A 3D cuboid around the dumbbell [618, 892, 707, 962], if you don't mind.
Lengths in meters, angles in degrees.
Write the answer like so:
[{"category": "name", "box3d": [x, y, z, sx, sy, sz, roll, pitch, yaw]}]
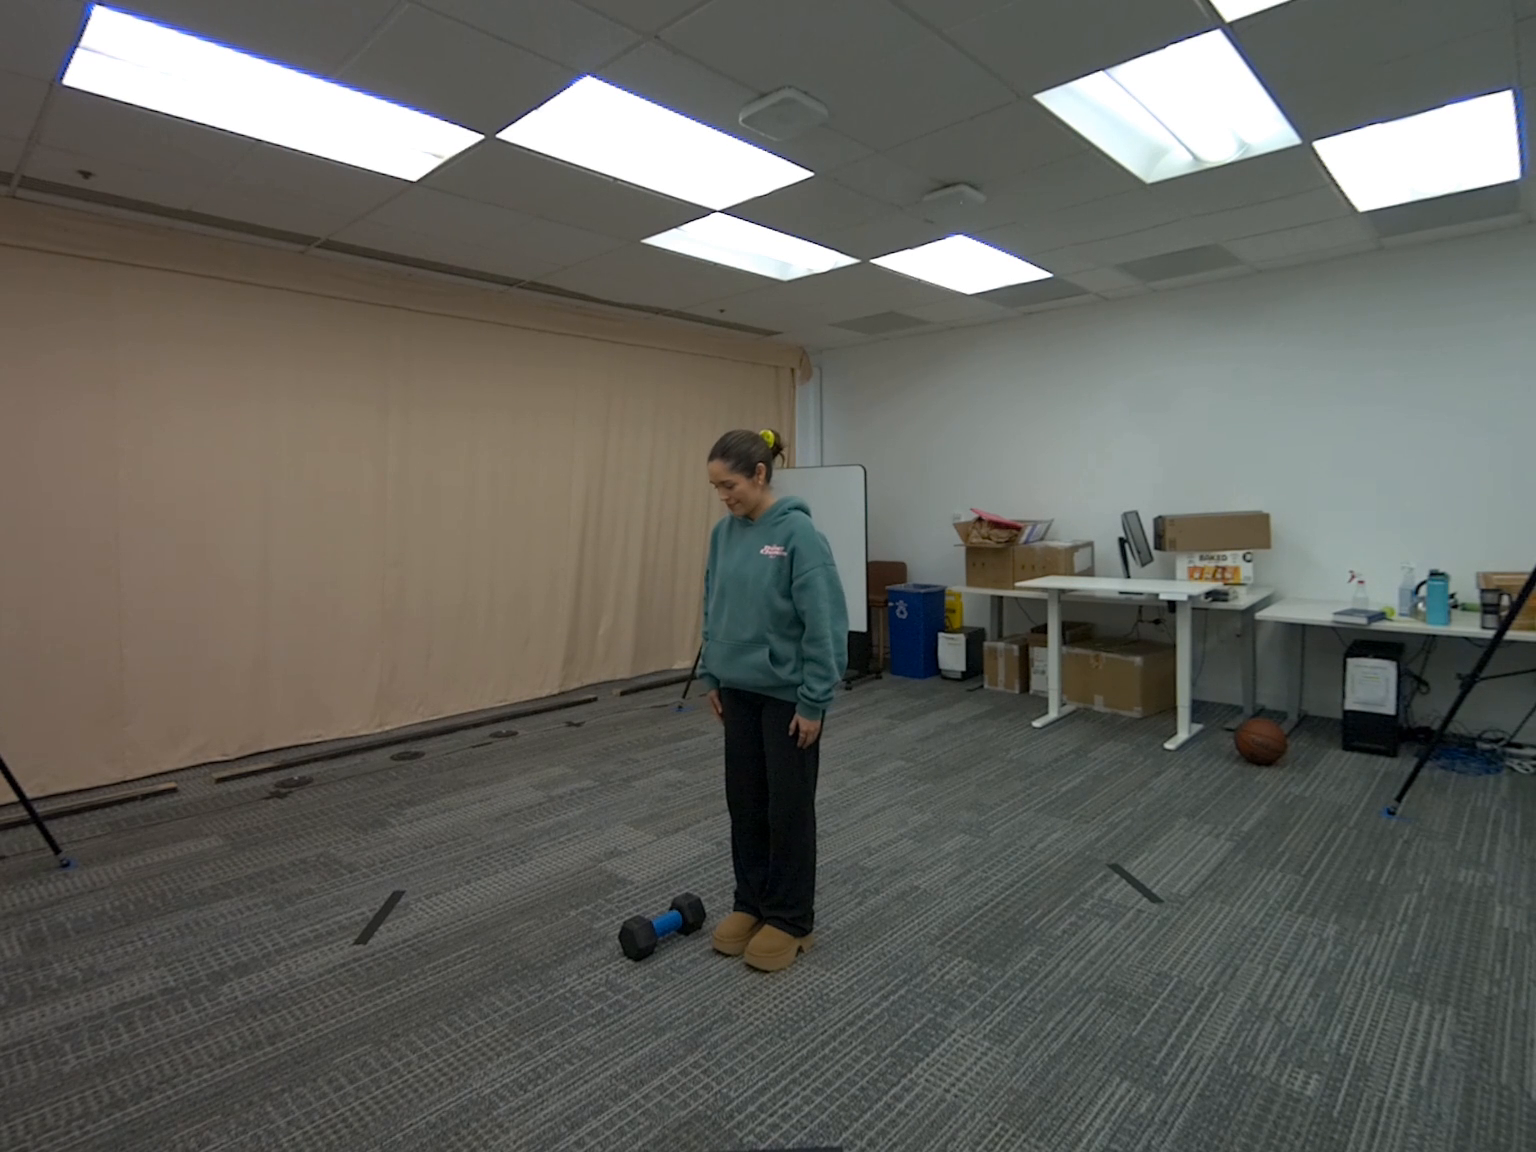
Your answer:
[{"category": "dumbbell", "box3d": [-0.334, 1.122, 2.693, 0.285, 0.125, 0.110, -5, -26, -46]}]
